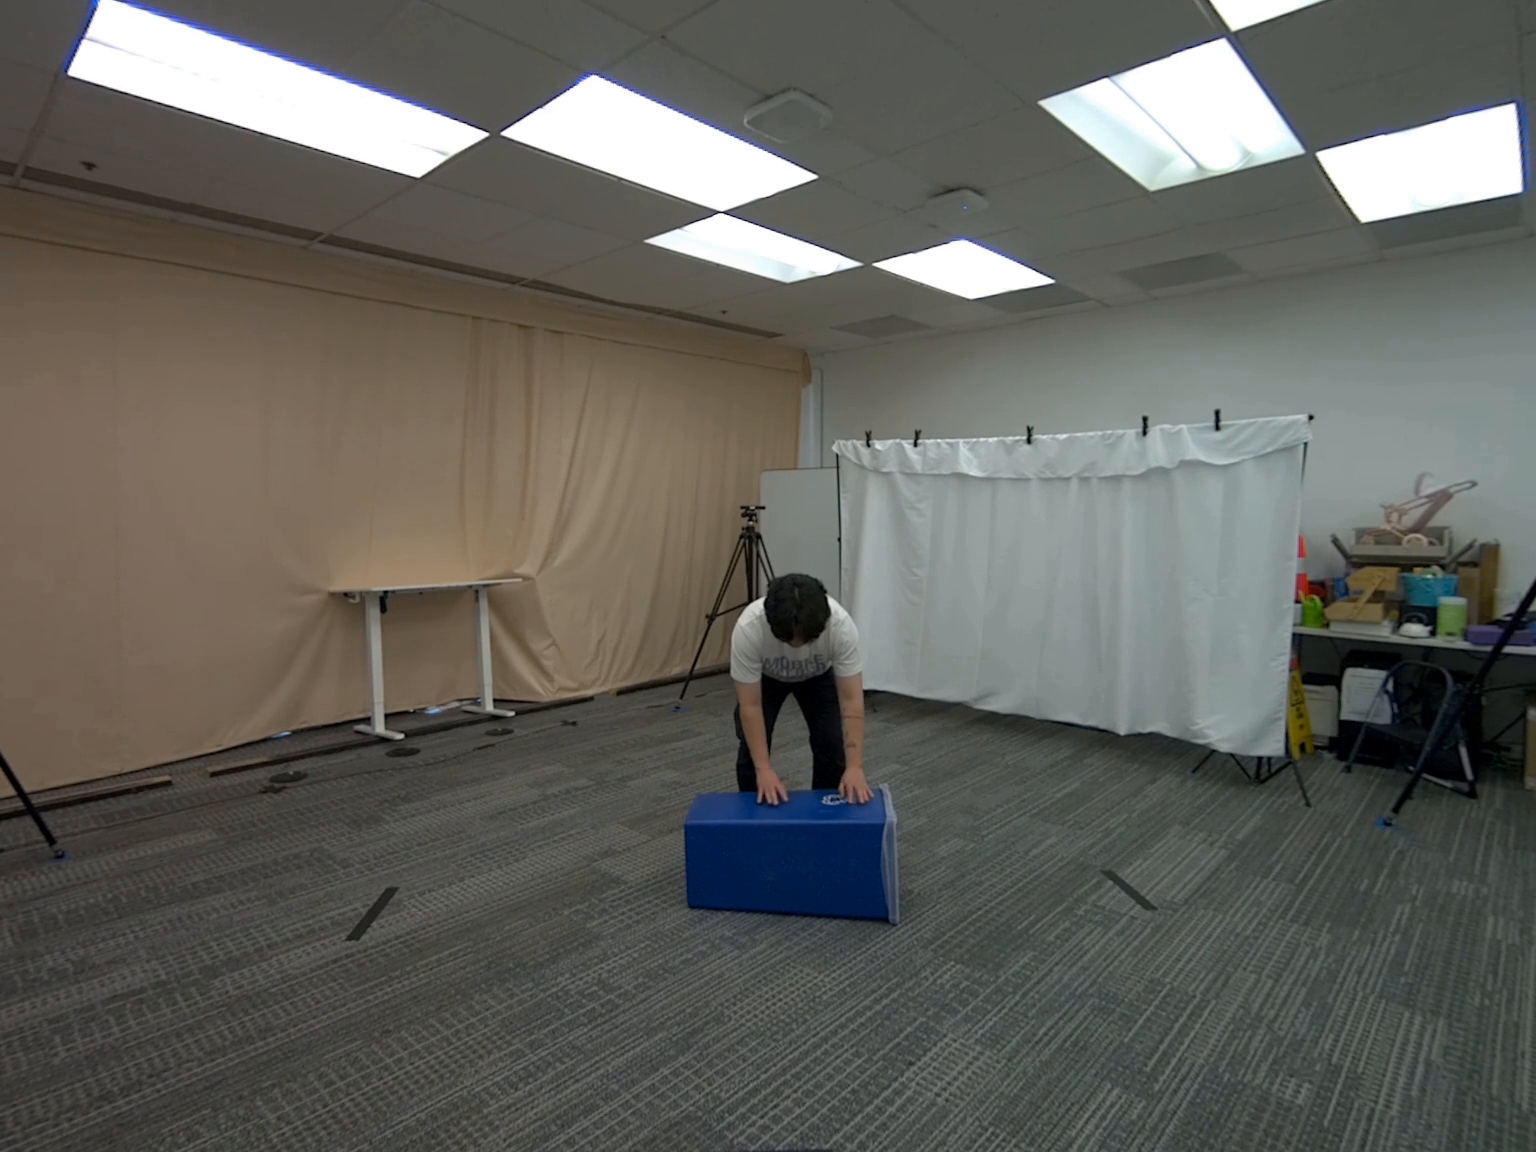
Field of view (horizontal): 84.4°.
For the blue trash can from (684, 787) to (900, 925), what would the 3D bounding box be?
[{"bbox_3d":[0.089,0.972,2.992,0.719,0.377,0.372,-2,4,6],"label":"blue trash can"}]
